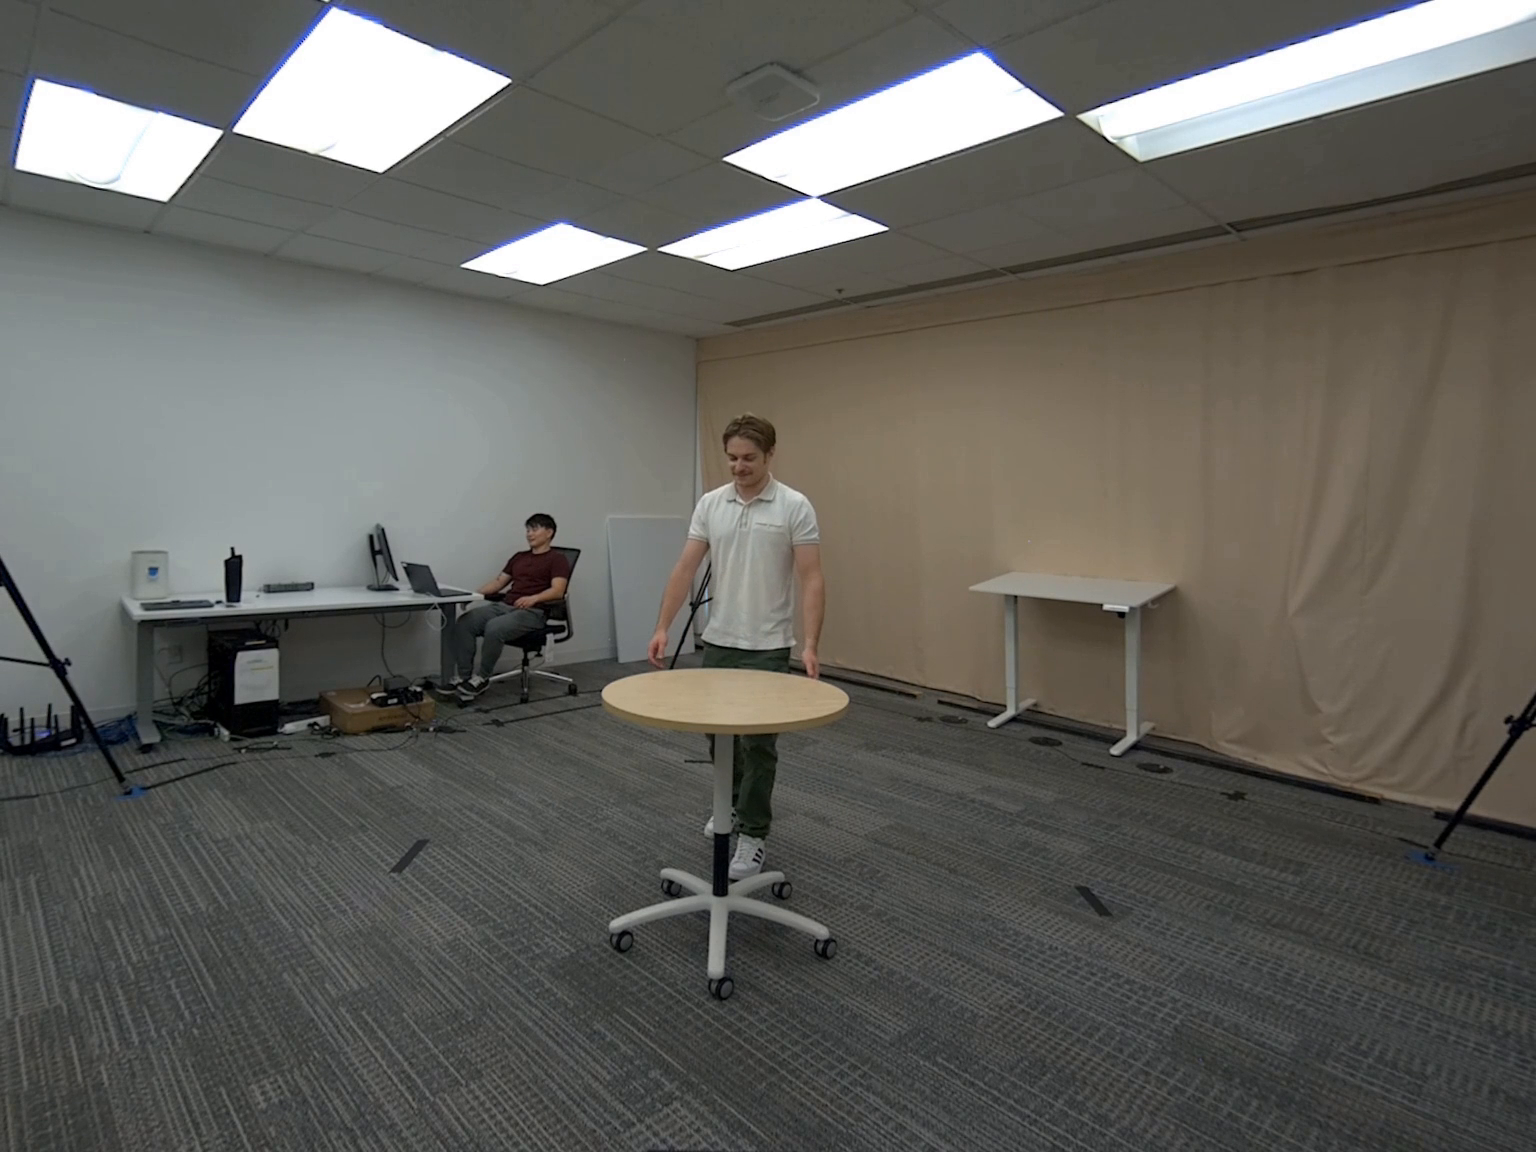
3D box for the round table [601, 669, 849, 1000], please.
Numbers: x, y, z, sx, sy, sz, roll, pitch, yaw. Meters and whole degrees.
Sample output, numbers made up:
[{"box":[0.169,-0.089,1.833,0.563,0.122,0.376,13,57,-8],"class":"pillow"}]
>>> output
[{"box":[-0.152,0.759,2.648,0.763,0.792,0.766,1,4,-1],"class":"round table"}]
